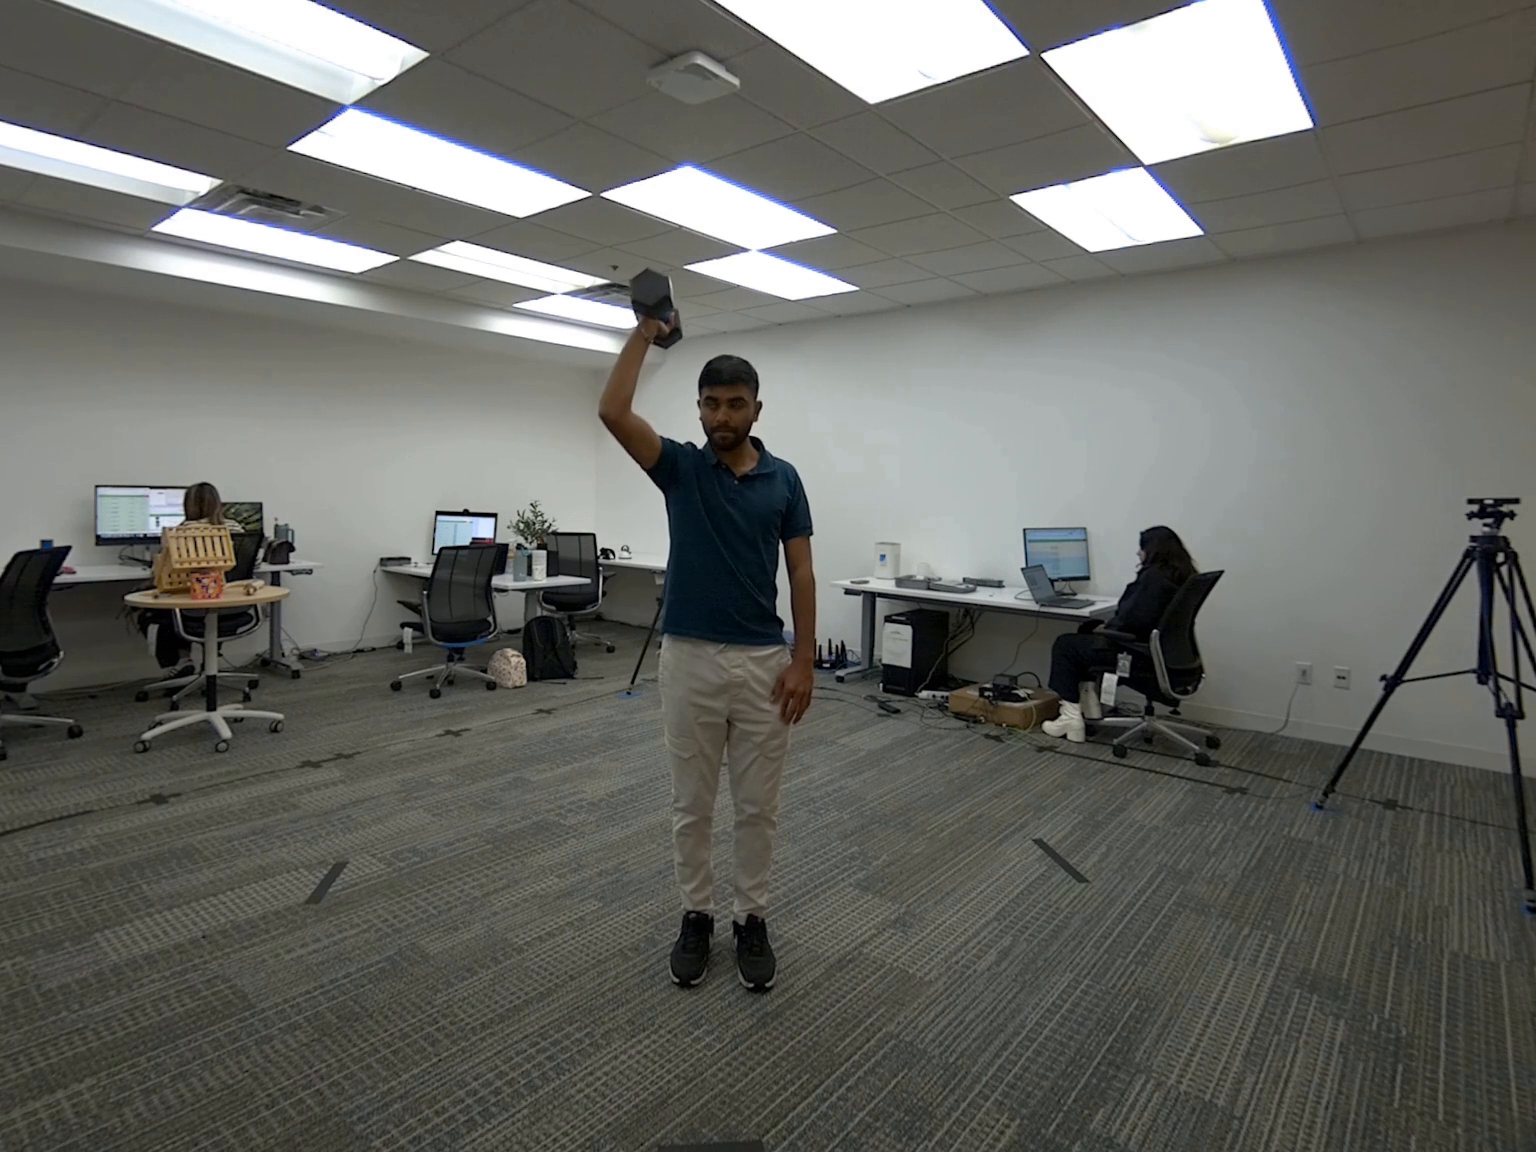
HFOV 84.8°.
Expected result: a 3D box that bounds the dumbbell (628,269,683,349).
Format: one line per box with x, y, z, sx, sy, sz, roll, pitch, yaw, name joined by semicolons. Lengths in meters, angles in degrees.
-0.310;-0.733;2.343;0.124;0.109;0.291;22;-6;3;dumbbell
